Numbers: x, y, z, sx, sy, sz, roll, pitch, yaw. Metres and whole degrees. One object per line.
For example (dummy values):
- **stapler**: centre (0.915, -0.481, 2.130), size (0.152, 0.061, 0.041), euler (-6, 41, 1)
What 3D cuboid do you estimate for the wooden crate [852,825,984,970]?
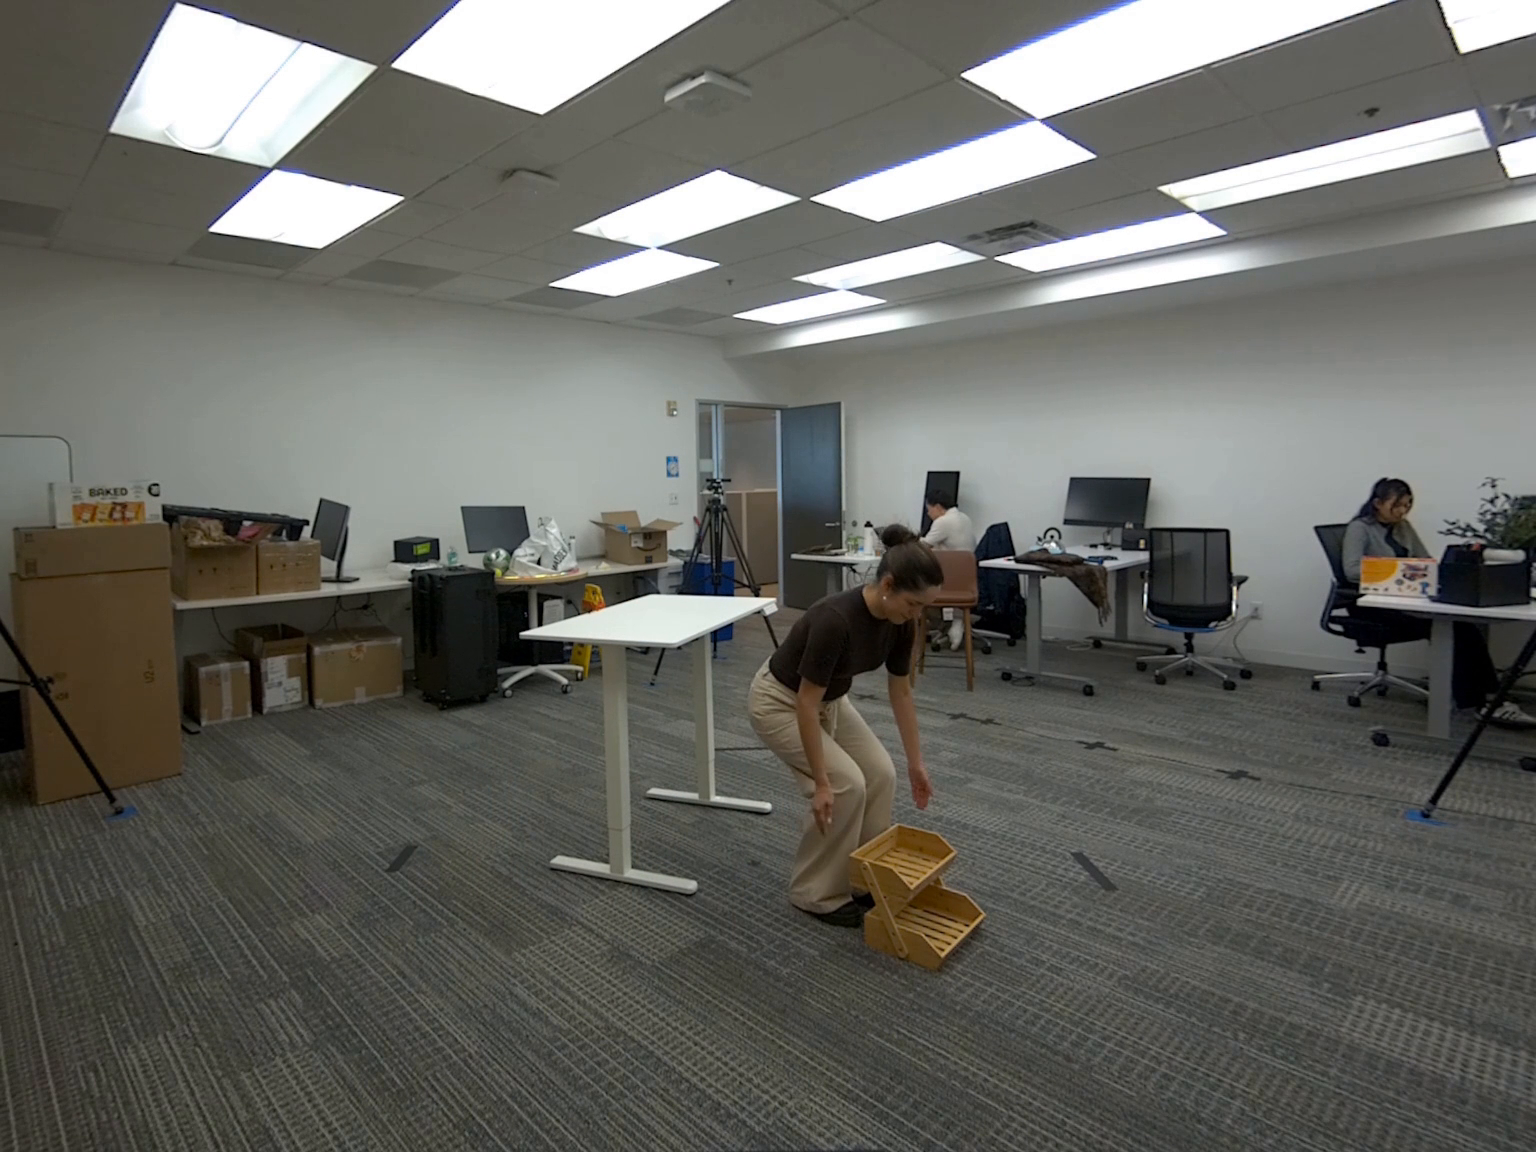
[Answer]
- **wooden crate**: centre (0.462, 0.961, 2.593), size (0.311, 0.272, 0.316), euler (2, 6, 39)
